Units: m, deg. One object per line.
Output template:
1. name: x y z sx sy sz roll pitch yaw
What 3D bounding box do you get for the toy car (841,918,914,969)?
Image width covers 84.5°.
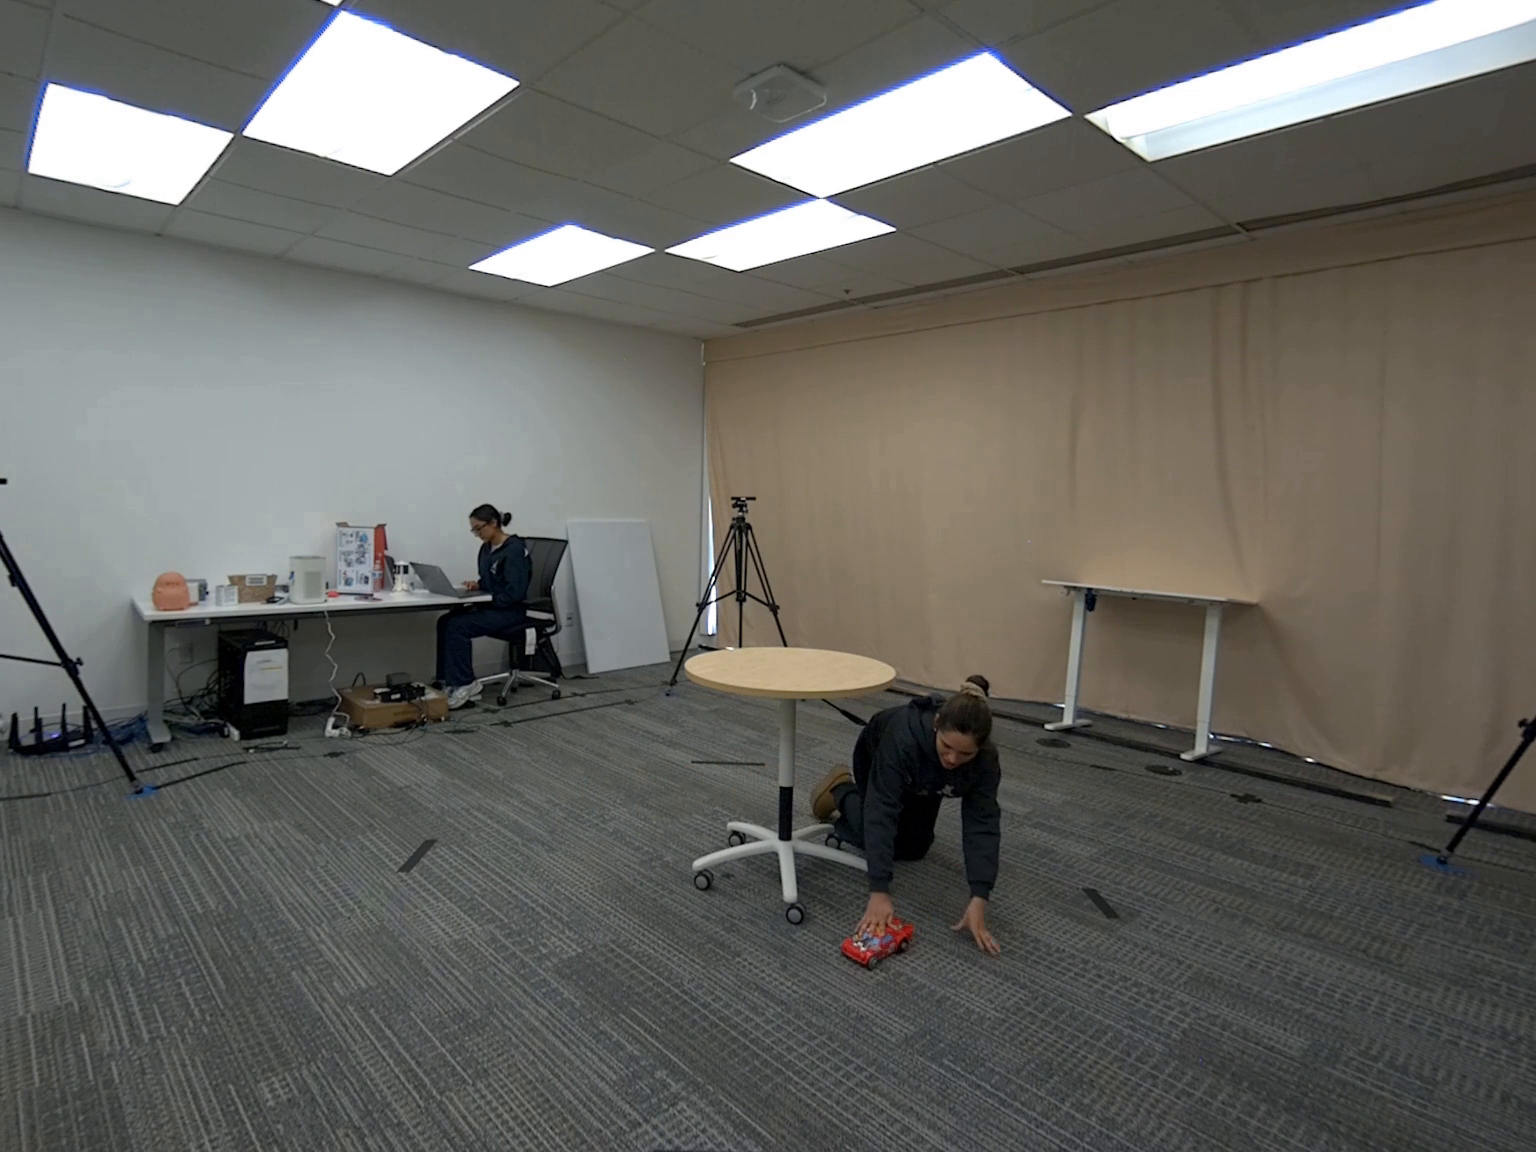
1. toy car: 0.332 1.134 2.614 0.250 0.082 0.133 -17 16 -39
